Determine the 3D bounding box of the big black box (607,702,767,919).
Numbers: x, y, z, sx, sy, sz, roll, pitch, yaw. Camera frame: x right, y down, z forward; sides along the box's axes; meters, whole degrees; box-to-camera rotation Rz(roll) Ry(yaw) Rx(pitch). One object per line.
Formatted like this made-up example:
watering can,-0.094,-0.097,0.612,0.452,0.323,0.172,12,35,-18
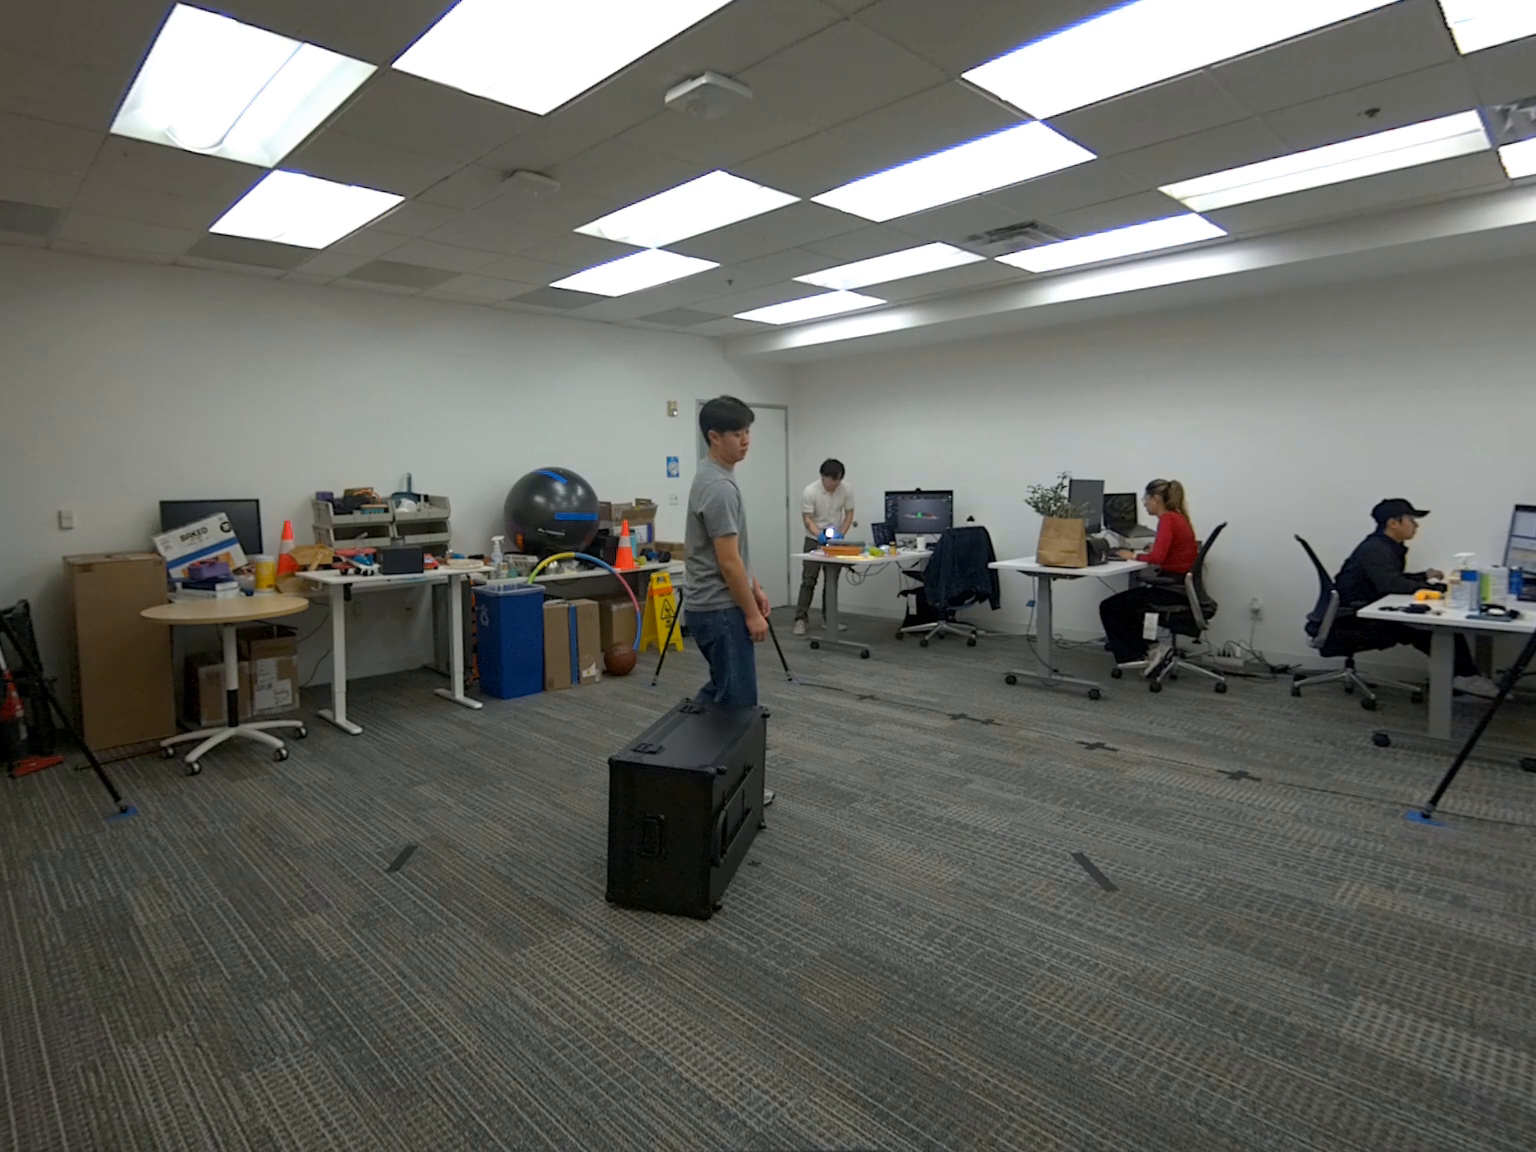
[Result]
big black box,-0.248,0.784,3.134,0.402,0.519,0.854,2,6,13
